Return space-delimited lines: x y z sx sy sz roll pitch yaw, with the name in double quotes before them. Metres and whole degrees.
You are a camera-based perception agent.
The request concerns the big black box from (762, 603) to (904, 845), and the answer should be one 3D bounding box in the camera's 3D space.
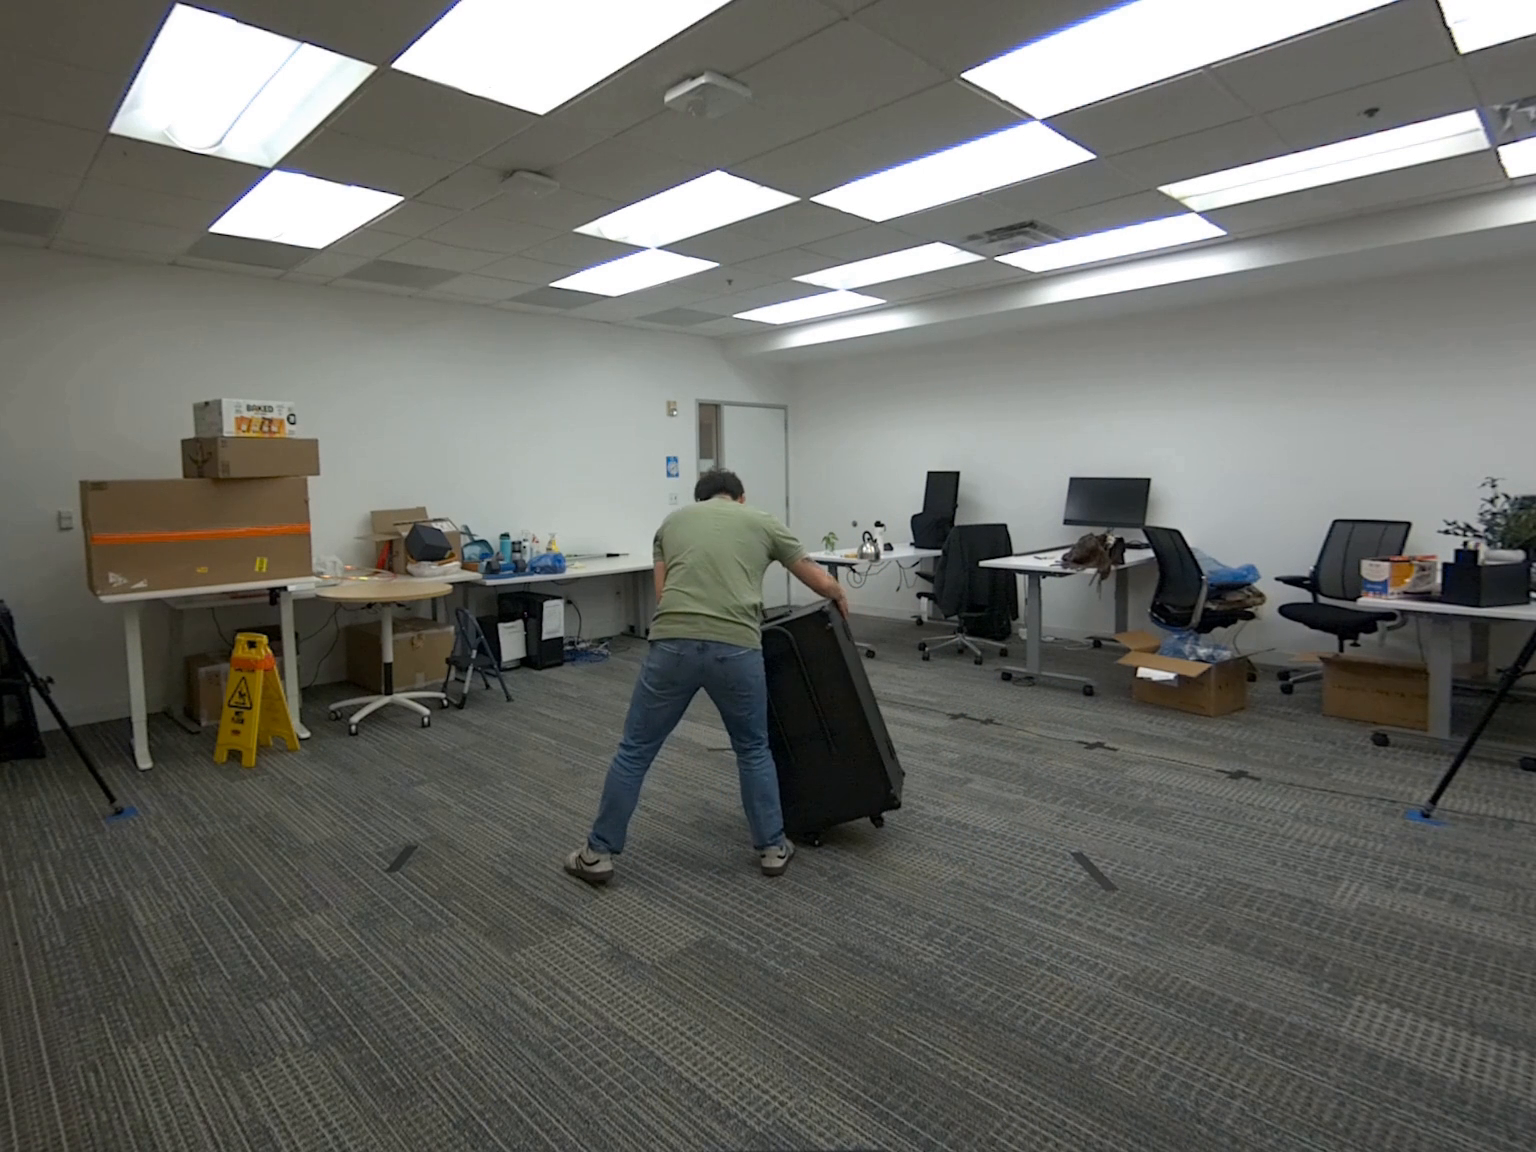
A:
"big black box" 0.178 0.574 3.348 0.526 0.862 0.392 -21 -1 15
